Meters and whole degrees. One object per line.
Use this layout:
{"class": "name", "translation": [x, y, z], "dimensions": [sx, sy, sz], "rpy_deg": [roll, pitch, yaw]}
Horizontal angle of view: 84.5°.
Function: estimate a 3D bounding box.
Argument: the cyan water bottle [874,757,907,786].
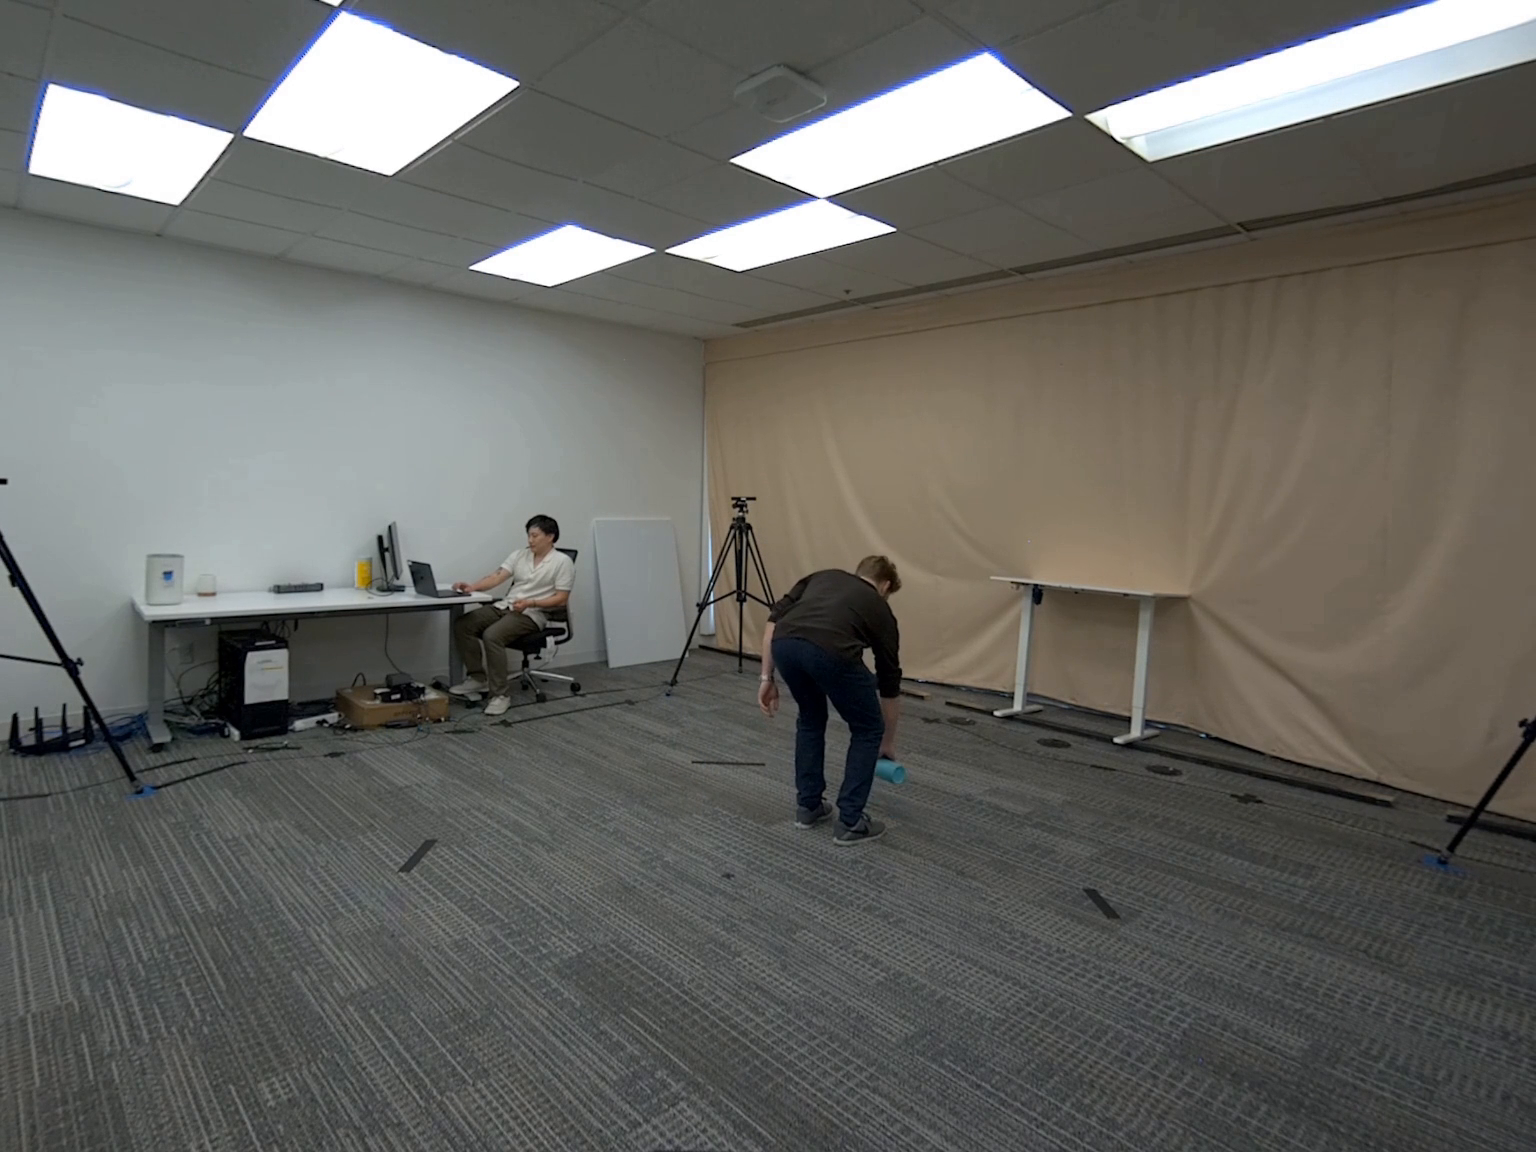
{"class": "cyan water bottle", "translation": [0.492, 0.866, 3.845], "dimensions": [0.090, 0.092, 0.290], "rpy_deg": [-1, 6, -33]}
